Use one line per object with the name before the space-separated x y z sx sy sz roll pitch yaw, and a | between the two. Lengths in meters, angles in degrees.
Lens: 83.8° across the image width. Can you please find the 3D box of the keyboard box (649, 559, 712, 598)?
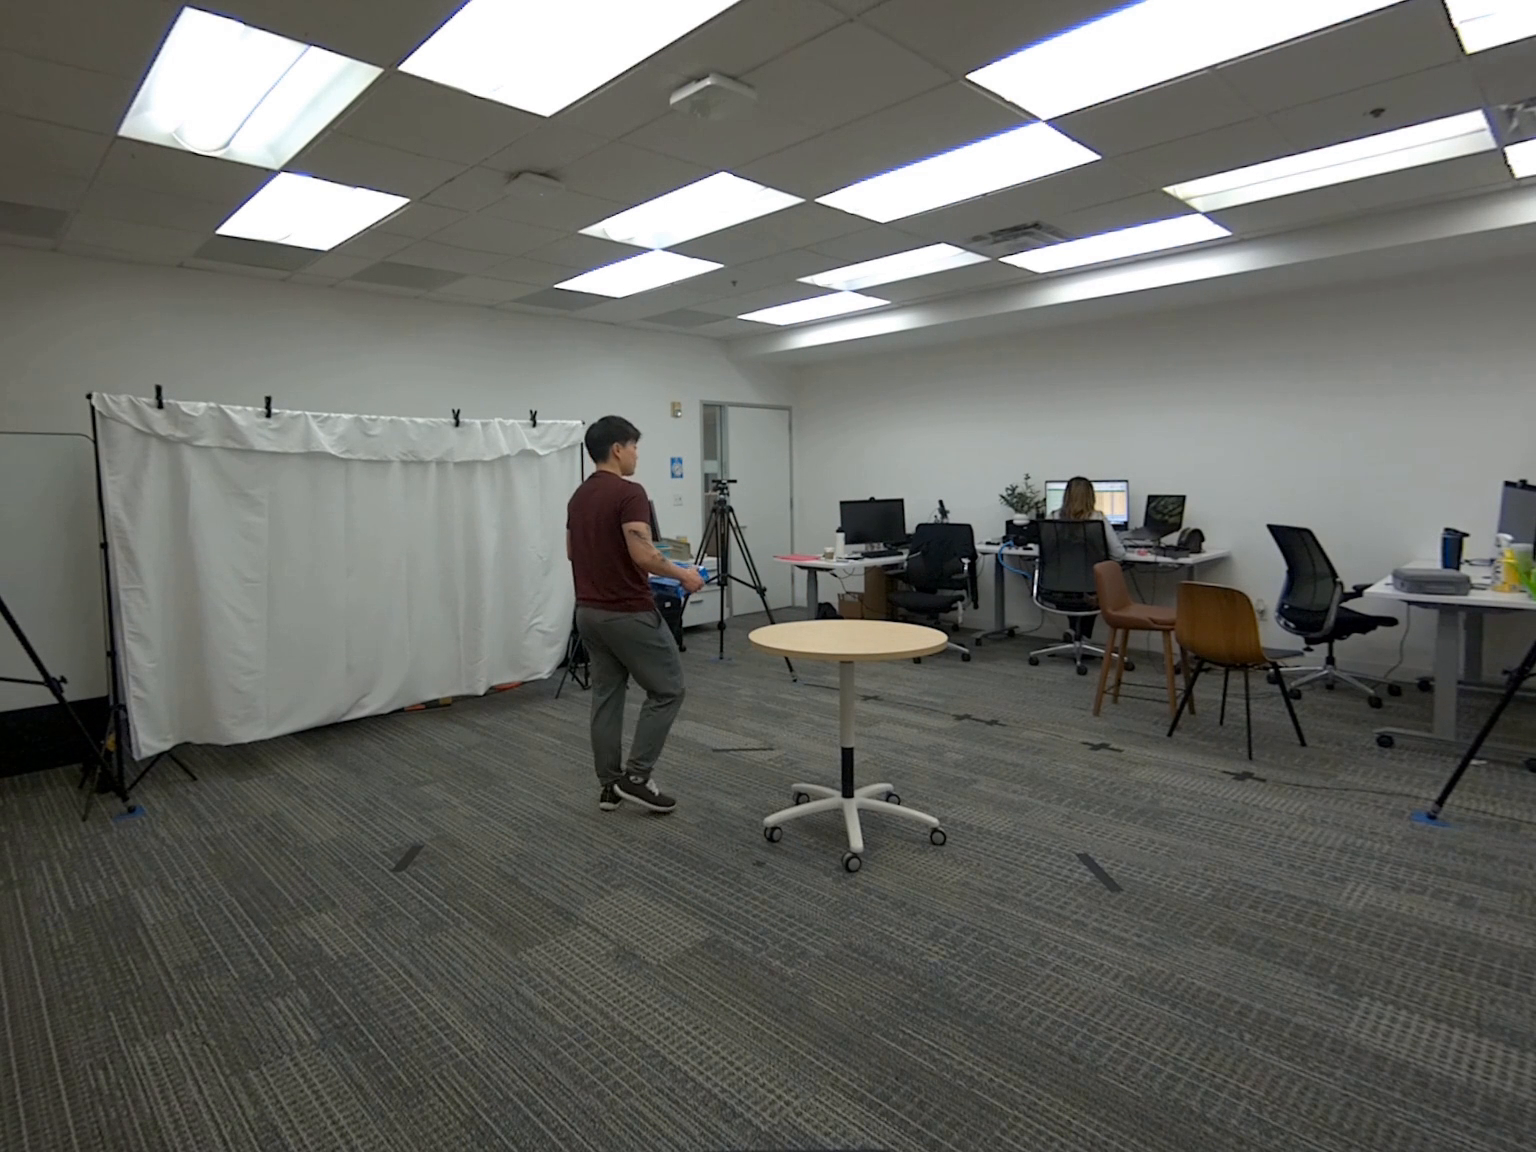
keyboard box | -0.456 -0.001 3.804 0.174 0.058 0.451 -29 24 -32
